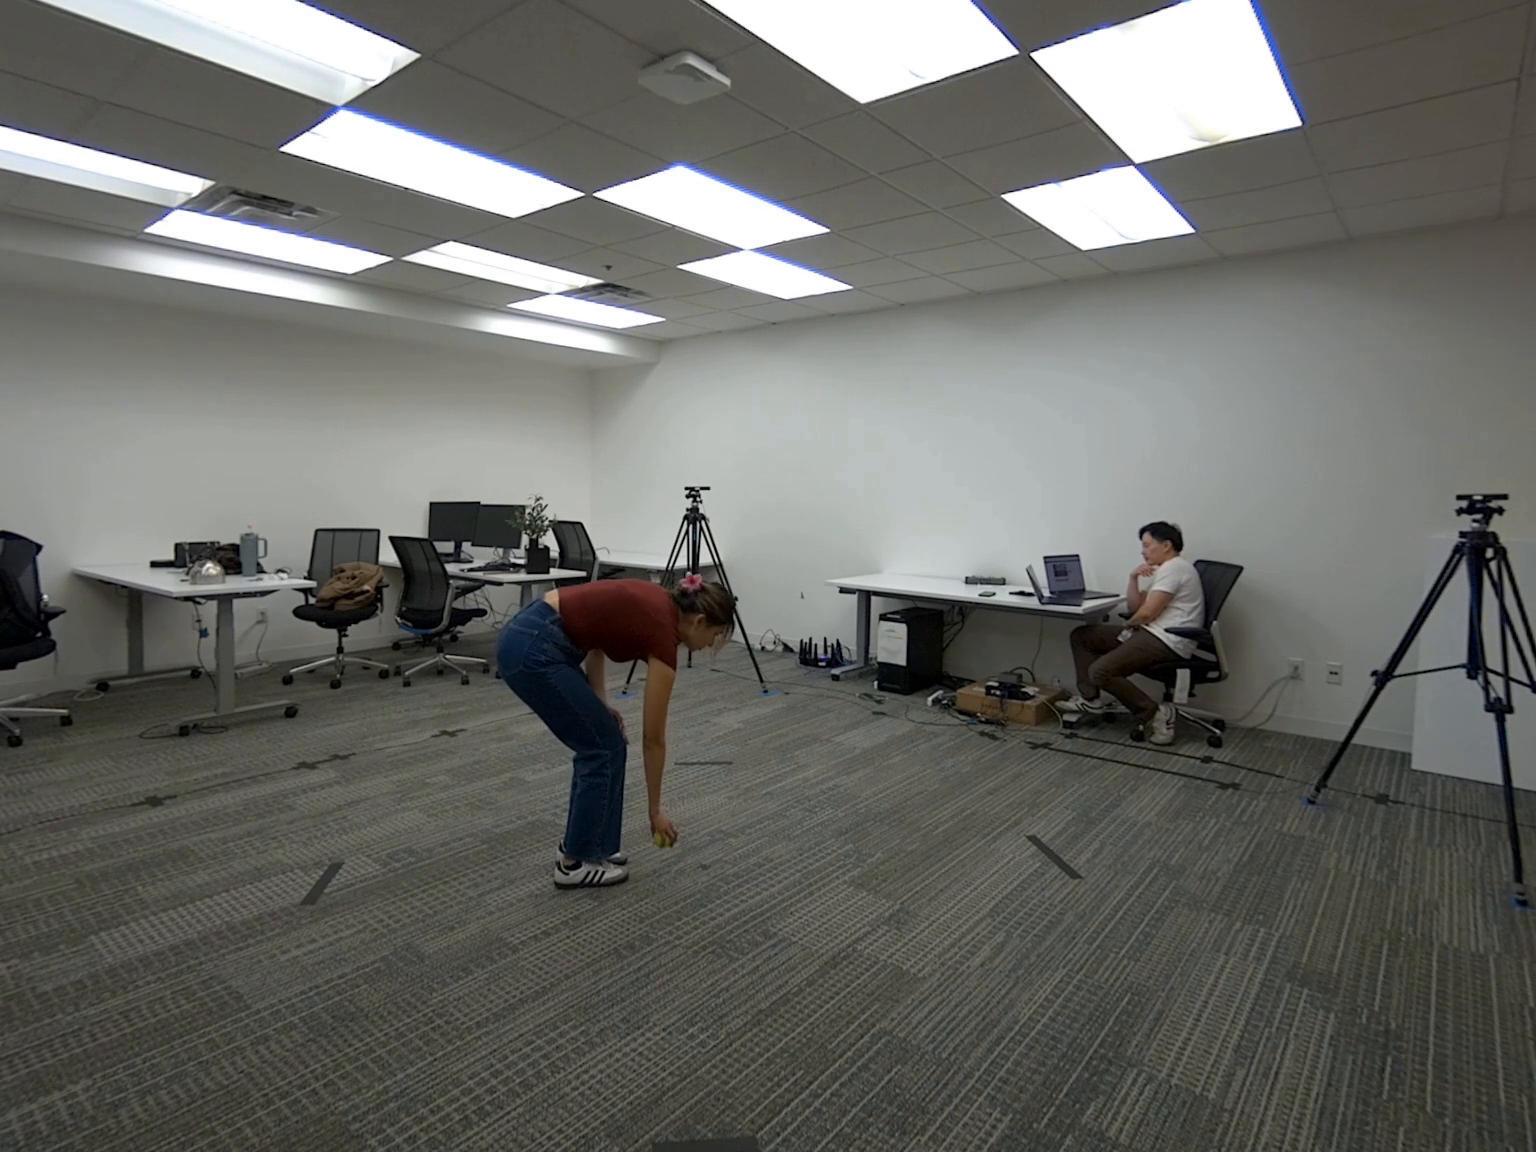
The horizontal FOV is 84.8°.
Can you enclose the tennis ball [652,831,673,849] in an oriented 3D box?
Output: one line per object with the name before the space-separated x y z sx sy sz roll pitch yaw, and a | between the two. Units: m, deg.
tennis ball | -0.375 0.958 3.028 0.066 0.066 0.067 1 4 -2
